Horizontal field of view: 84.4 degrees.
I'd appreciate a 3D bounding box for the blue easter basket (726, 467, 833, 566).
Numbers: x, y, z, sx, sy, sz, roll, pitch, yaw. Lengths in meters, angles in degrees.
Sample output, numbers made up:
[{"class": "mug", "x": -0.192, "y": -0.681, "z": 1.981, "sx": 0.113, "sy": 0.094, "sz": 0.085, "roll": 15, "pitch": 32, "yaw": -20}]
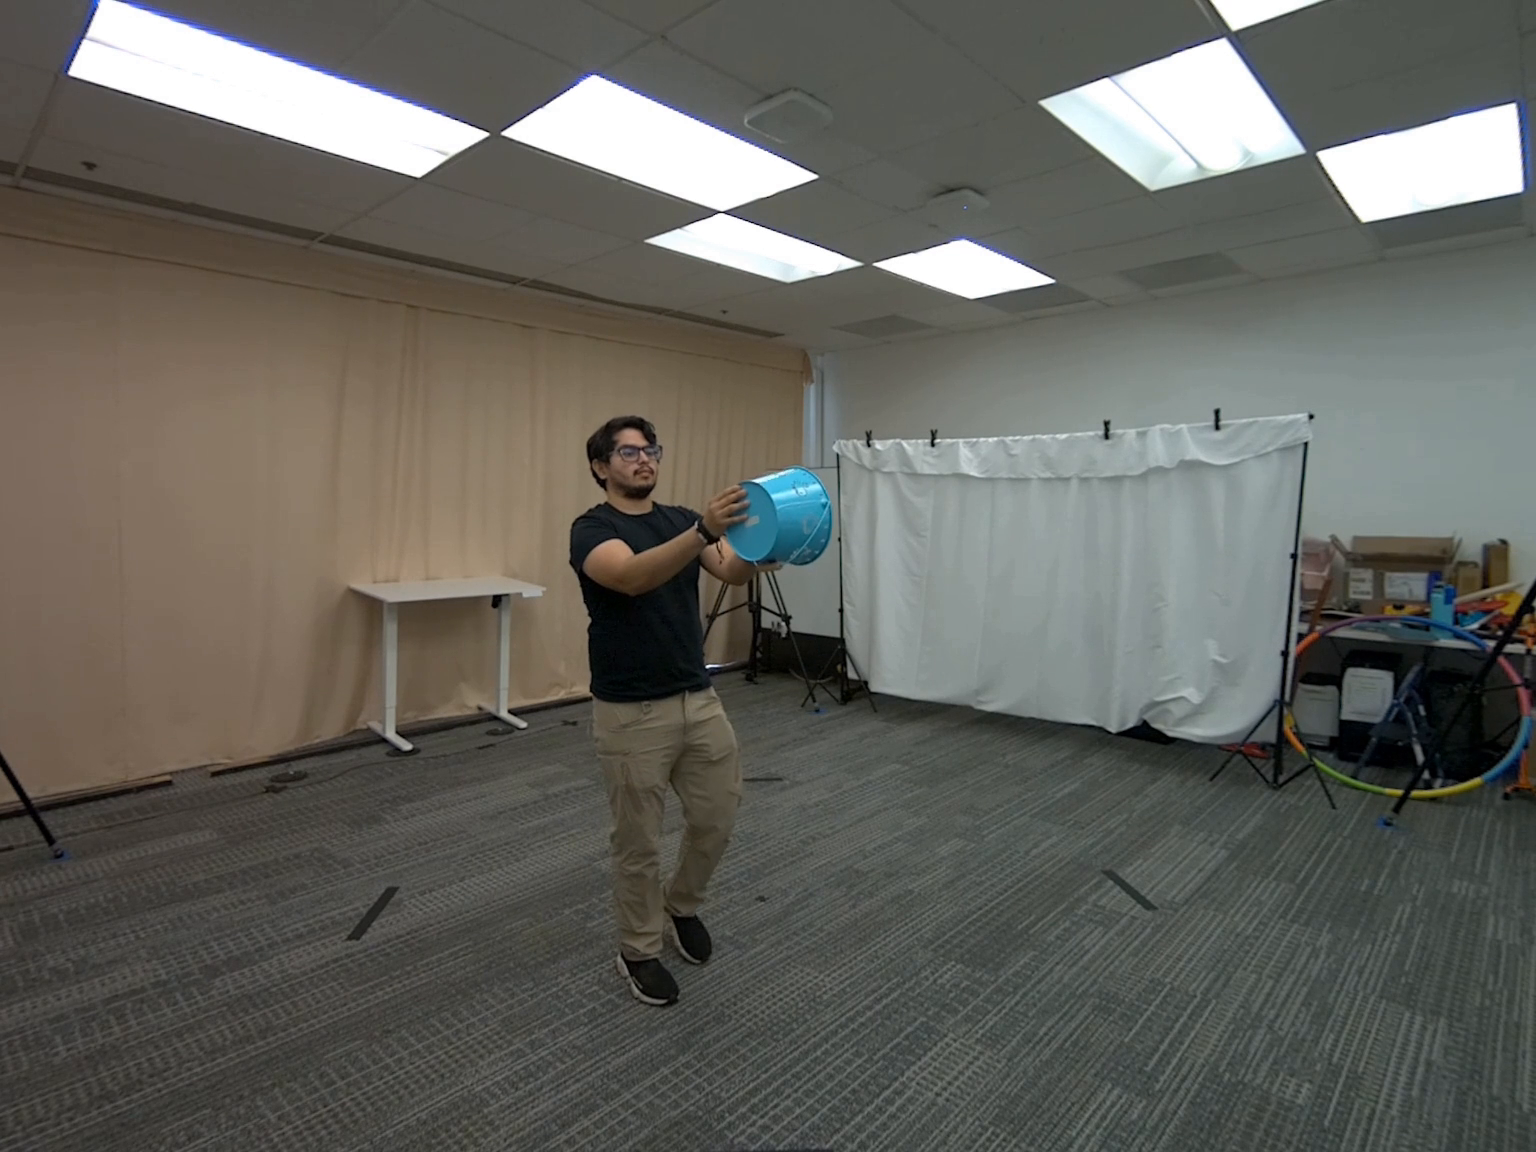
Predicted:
[{"class": "blue easter basket", "x": 0.034, "y": -0.126, "z": 1.944, "sx": 0.151, "sy": 0.242, "sz": 0.252, "roll": -8, "pitch": 8, "yaw": -40}]
